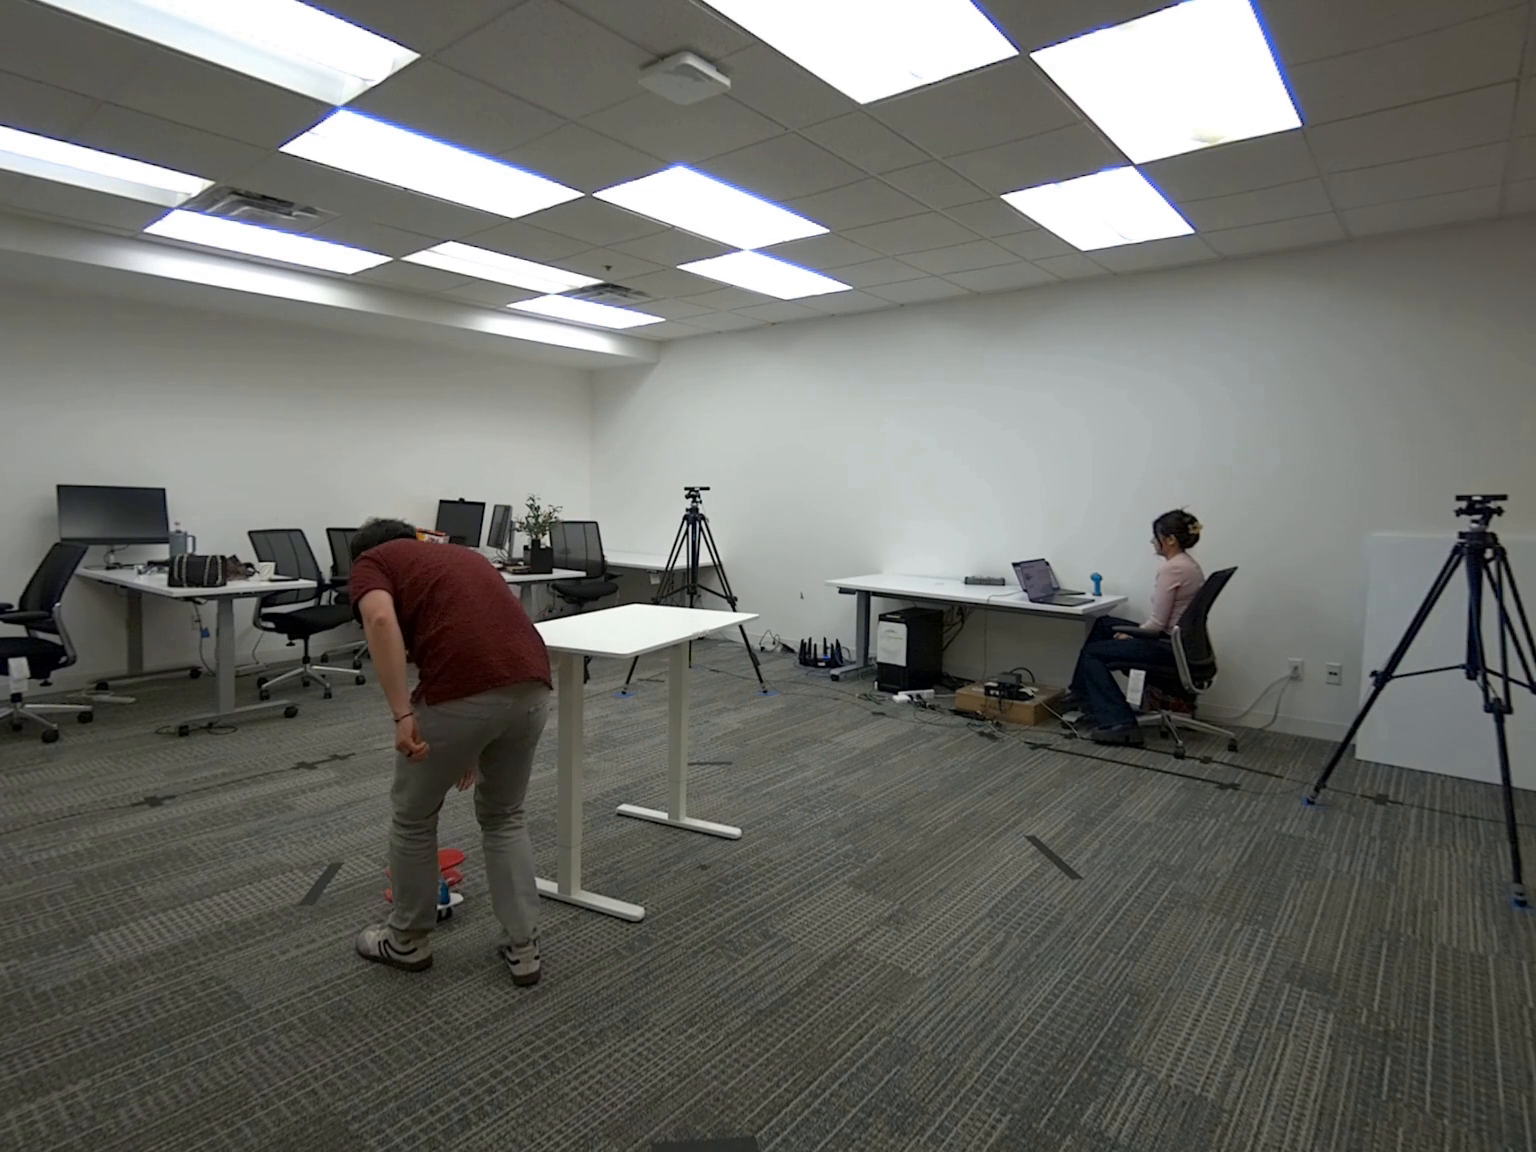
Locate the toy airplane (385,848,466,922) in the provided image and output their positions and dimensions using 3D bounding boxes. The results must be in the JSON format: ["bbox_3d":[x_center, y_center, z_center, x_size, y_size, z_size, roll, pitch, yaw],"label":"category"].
[{"bbox_3d":[-1.109,1.014,2.794,0.264,0.156,0.247,1,5,17],"label":"toy airplane"}]
